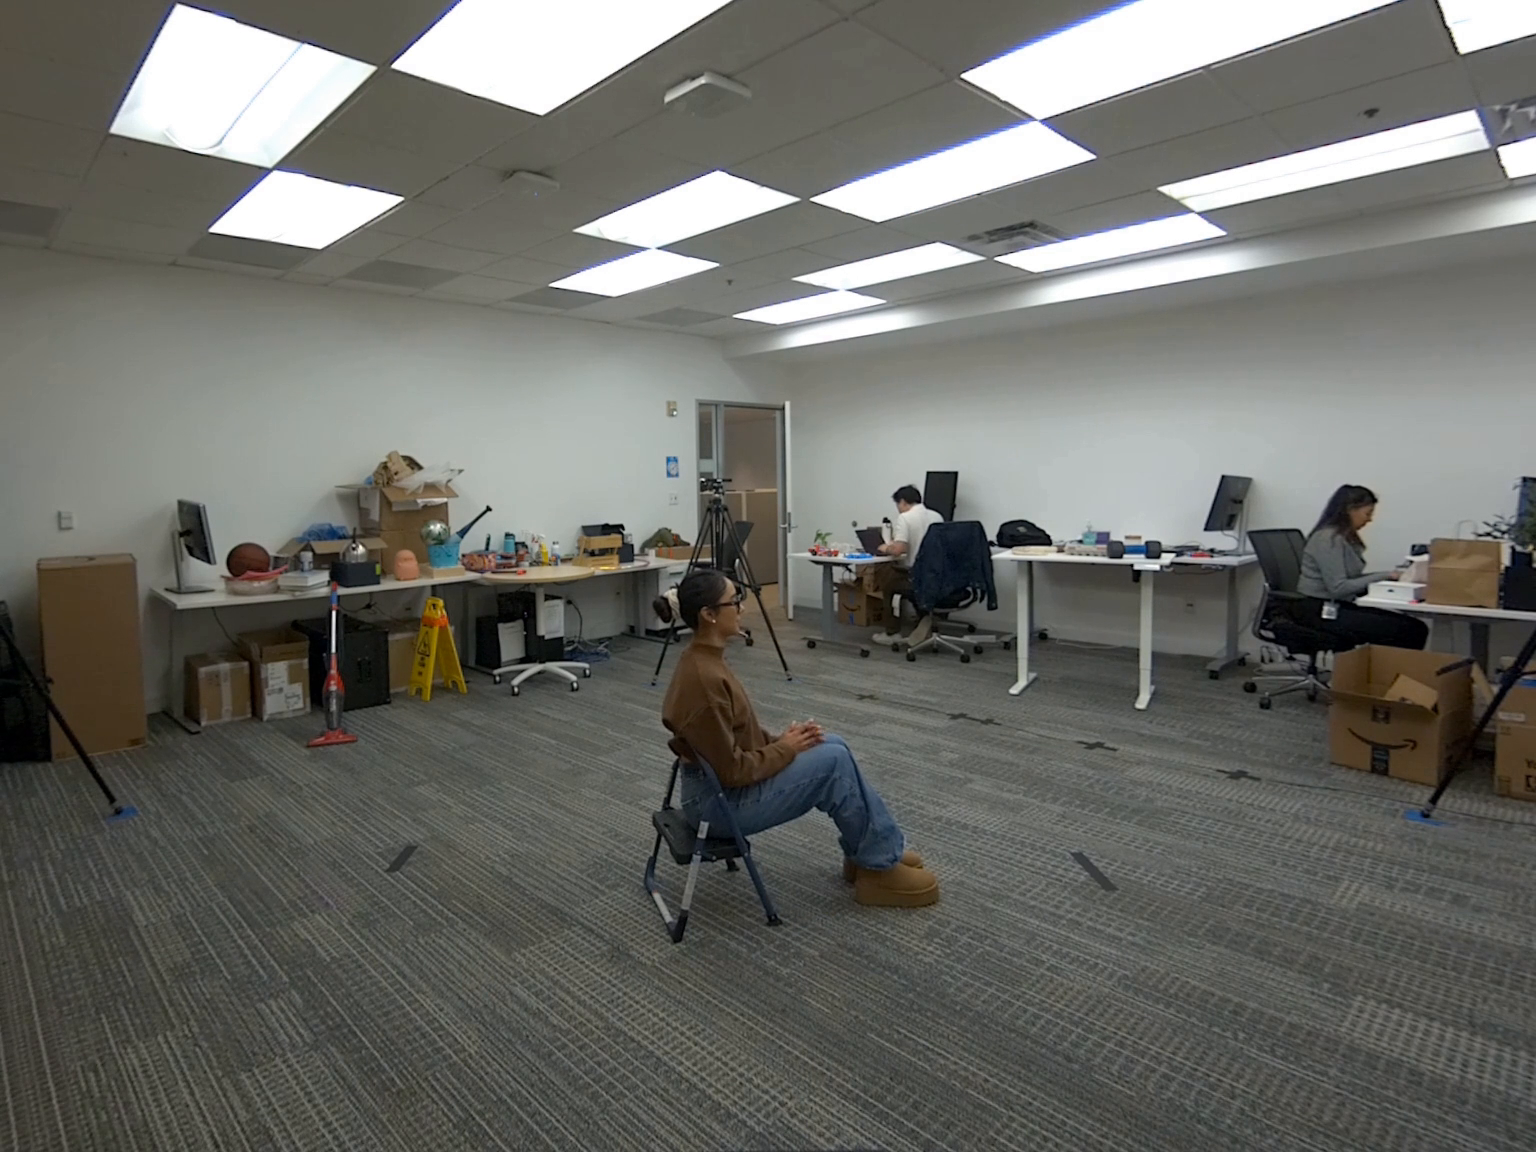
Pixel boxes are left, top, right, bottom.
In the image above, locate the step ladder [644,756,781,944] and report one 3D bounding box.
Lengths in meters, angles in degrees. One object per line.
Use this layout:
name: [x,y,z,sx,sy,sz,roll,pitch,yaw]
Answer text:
step ladder: [-0.199,0.786,2.804,0.343,0.604,0.440,-3,4,-21]
